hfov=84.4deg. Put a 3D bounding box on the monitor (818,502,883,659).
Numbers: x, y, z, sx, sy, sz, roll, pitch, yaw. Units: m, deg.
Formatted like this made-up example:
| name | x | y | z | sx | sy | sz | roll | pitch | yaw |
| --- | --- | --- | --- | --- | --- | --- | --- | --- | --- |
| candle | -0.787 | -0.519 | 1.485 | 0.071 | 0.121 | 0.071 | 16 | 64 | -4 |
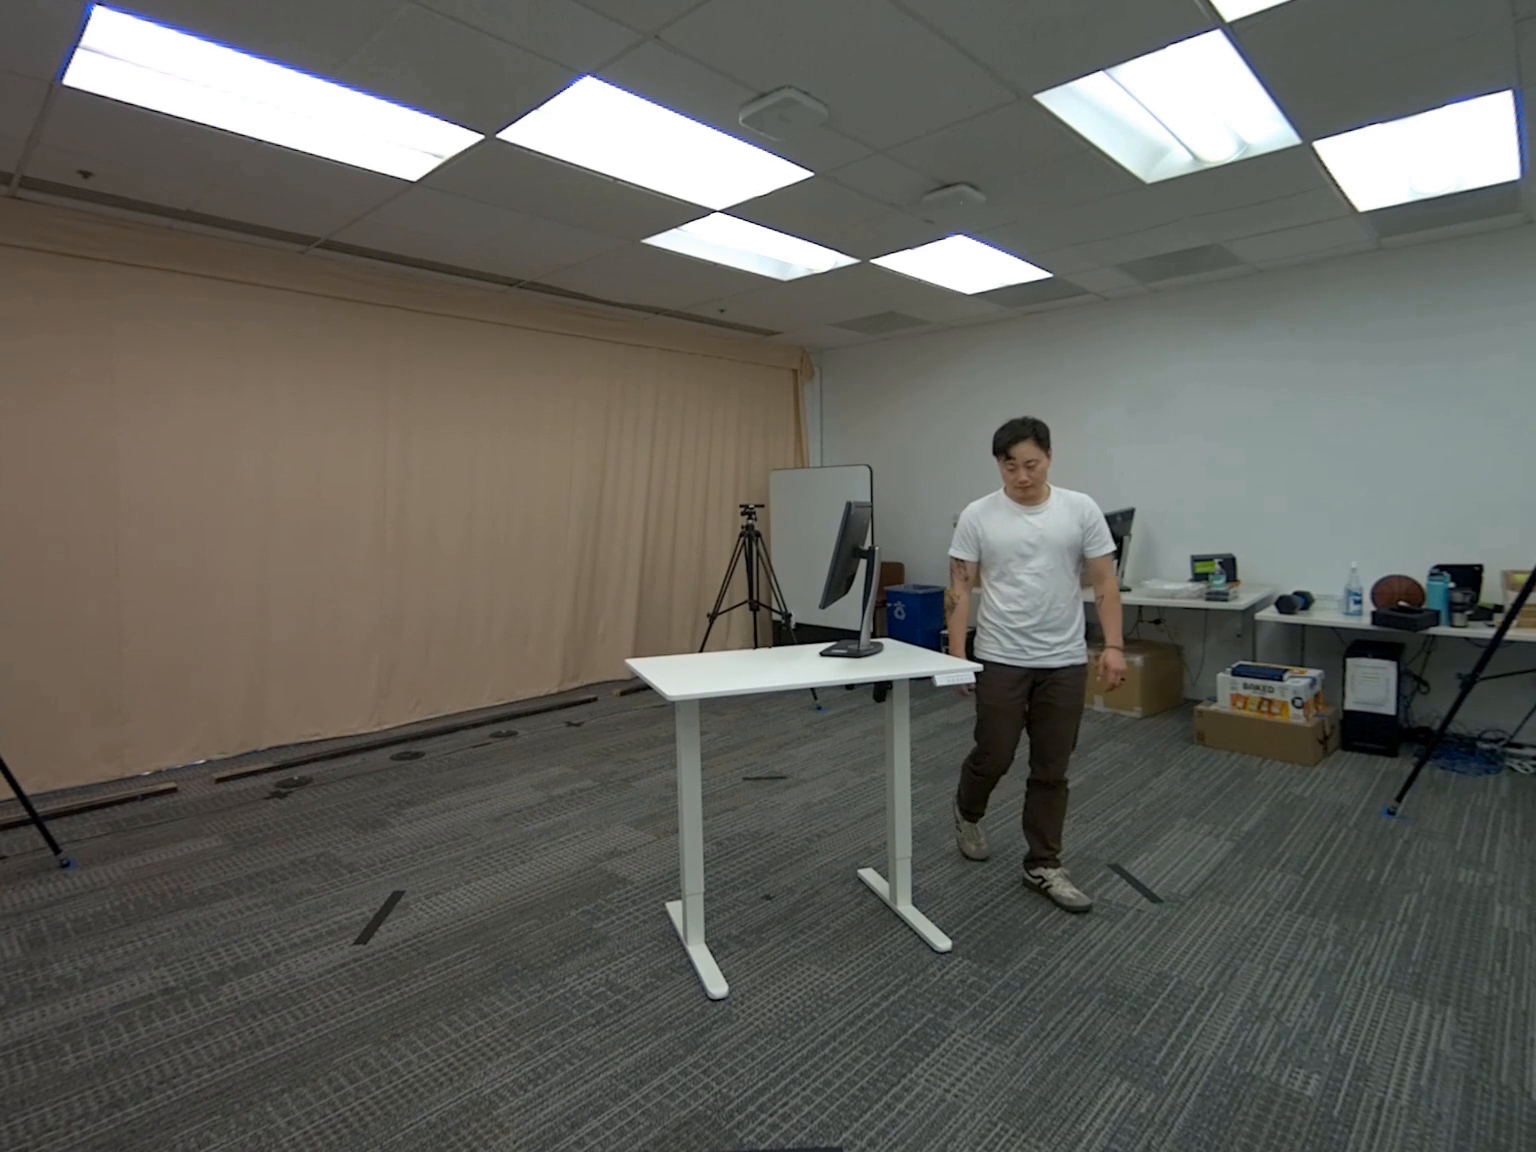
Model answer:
| name | x | y | z | sx | sy | sz | roll | pitch | yaw |
| --- | --- | --- | --- | --- | --- | --- | --- | --- | --- |
| monitor | 0.308 | 0.009 | 2.880 | 0.190 | 0.521 | 0.531 | 1 | 4 | 14 |
